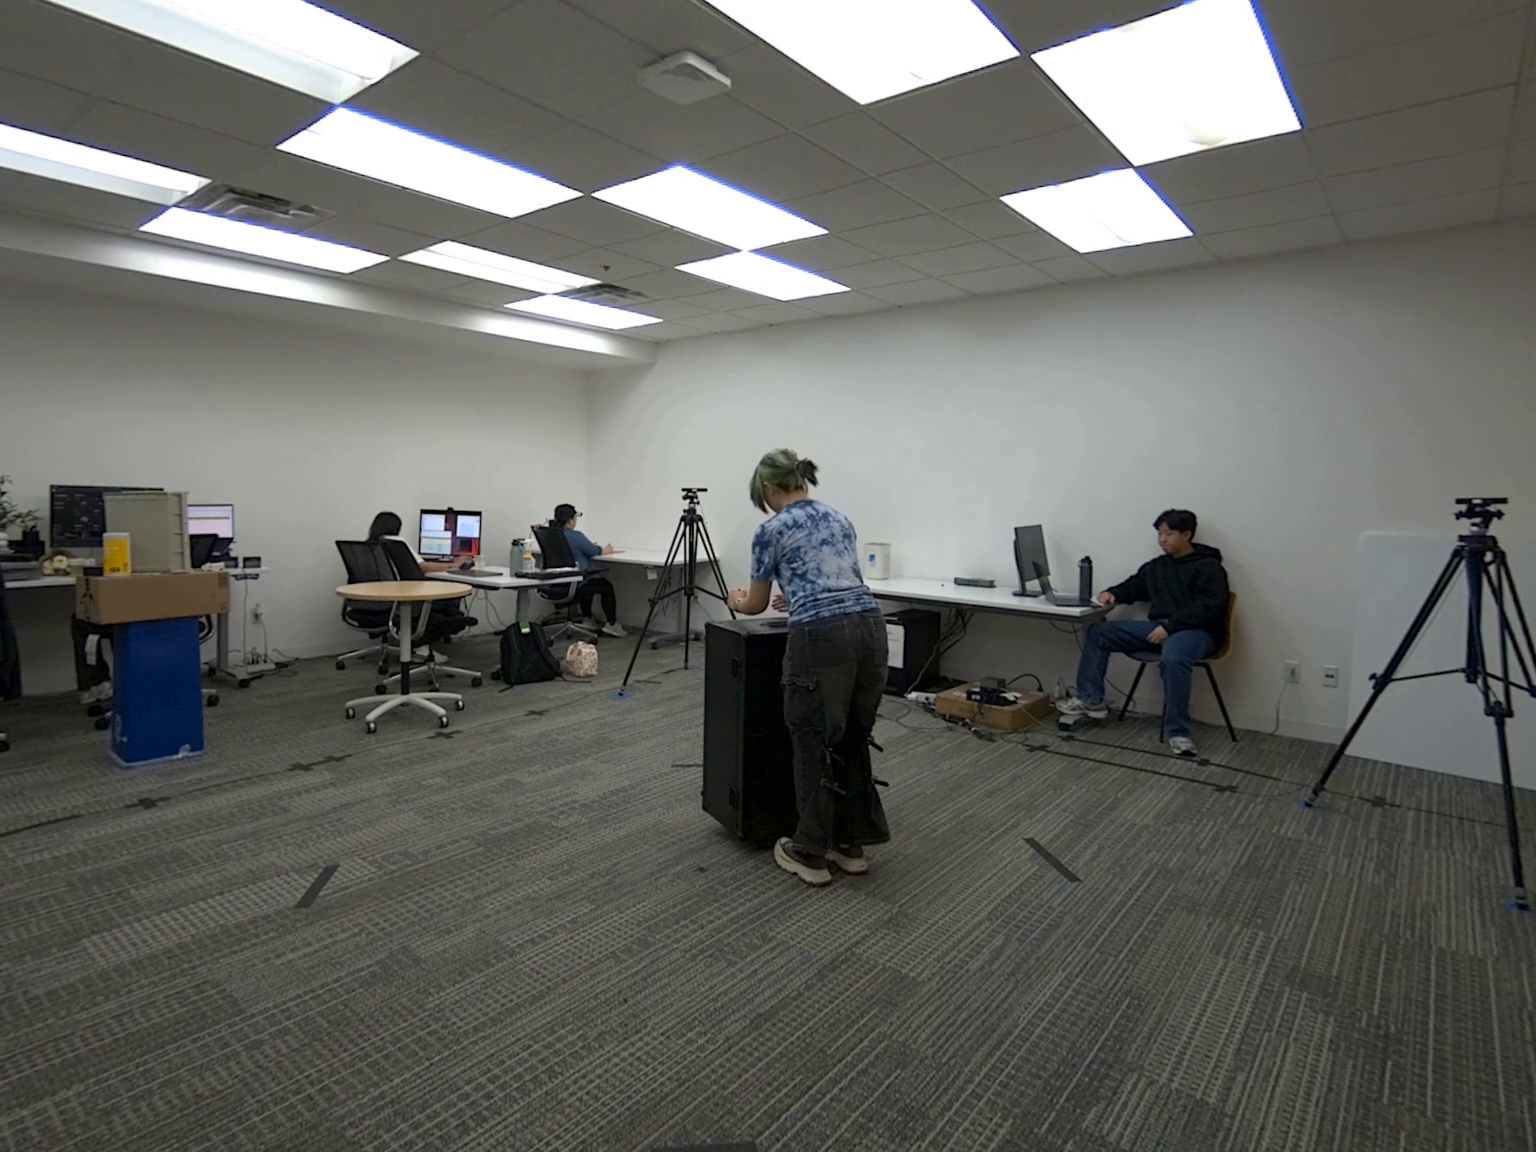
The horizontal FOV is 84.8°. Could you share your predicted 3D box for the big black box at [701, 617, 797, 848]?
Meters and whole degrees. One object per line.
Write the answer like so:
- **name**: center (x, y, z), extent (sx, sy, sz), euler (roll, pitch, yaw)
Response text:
- **big black box**: center (0.016, 0.551, 3.450), extent (0.508, 0.858, 0.408), euler (-2, 4, -27)
